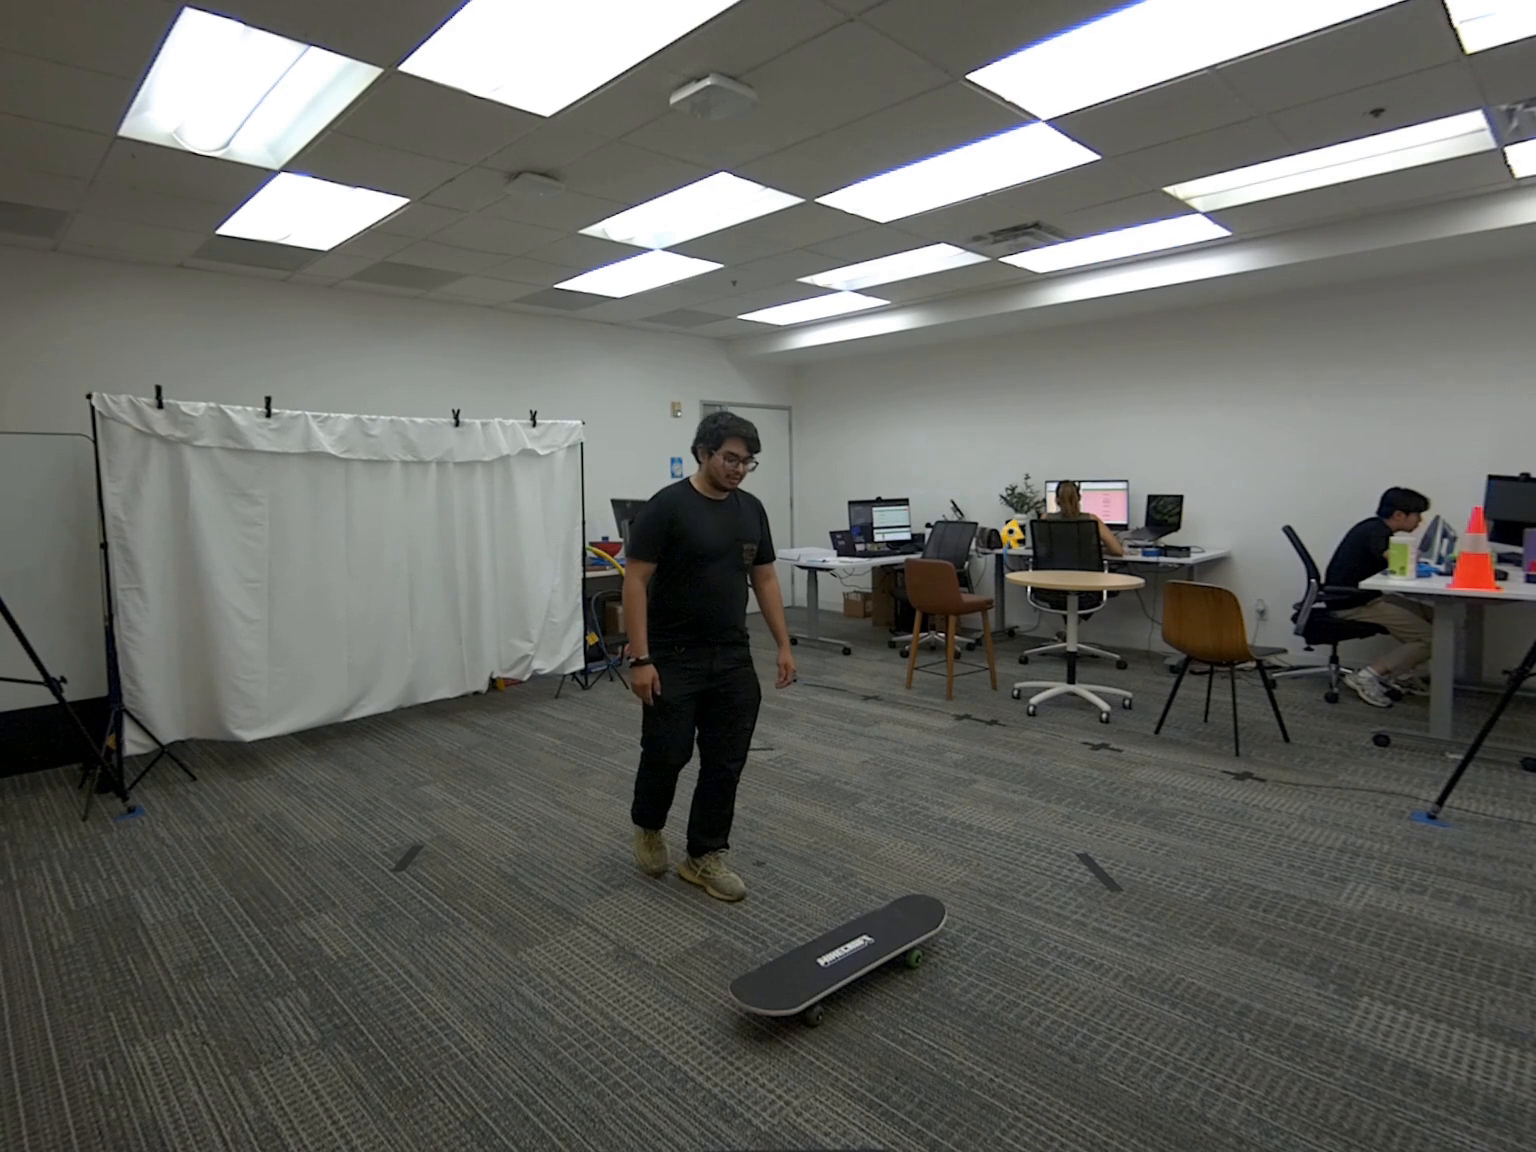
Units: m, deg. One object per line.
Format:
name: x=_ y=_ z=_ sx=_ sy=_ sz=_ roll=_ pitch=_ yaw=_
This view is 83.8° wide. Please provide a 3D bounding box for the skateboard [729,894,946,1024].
skateboard: x=0.225 y=1.073 z=2.372 sx=0.765 sy=0.110 sz=0.199 roll=-7 pitch=9 yaw=-40
